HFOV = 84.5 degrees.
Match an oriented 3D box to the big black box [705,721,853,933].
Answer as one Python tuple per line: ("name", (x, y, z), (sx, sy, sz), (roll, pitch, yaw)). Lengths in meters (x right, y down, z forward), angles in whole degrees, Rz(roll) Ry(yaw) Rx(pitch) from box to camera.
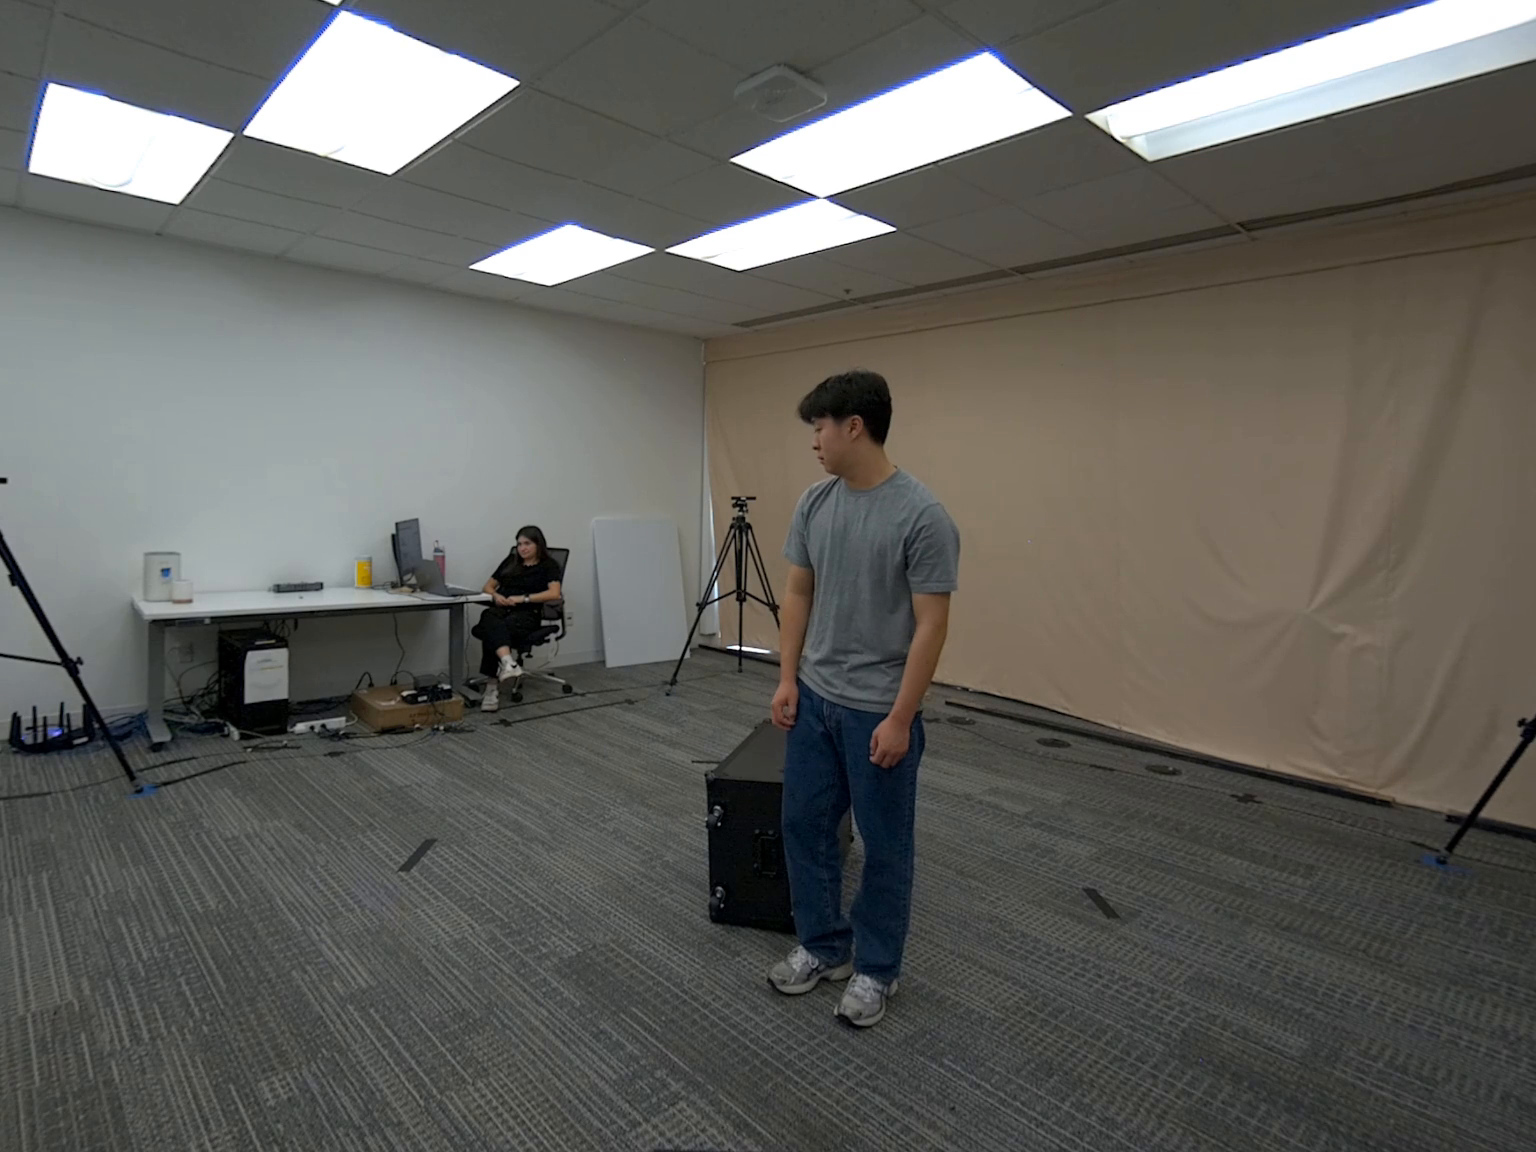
("big black box", (0.042, 0.856, 3.040), (0.401, 0.520, 0.853), (-1, 5, 14))
